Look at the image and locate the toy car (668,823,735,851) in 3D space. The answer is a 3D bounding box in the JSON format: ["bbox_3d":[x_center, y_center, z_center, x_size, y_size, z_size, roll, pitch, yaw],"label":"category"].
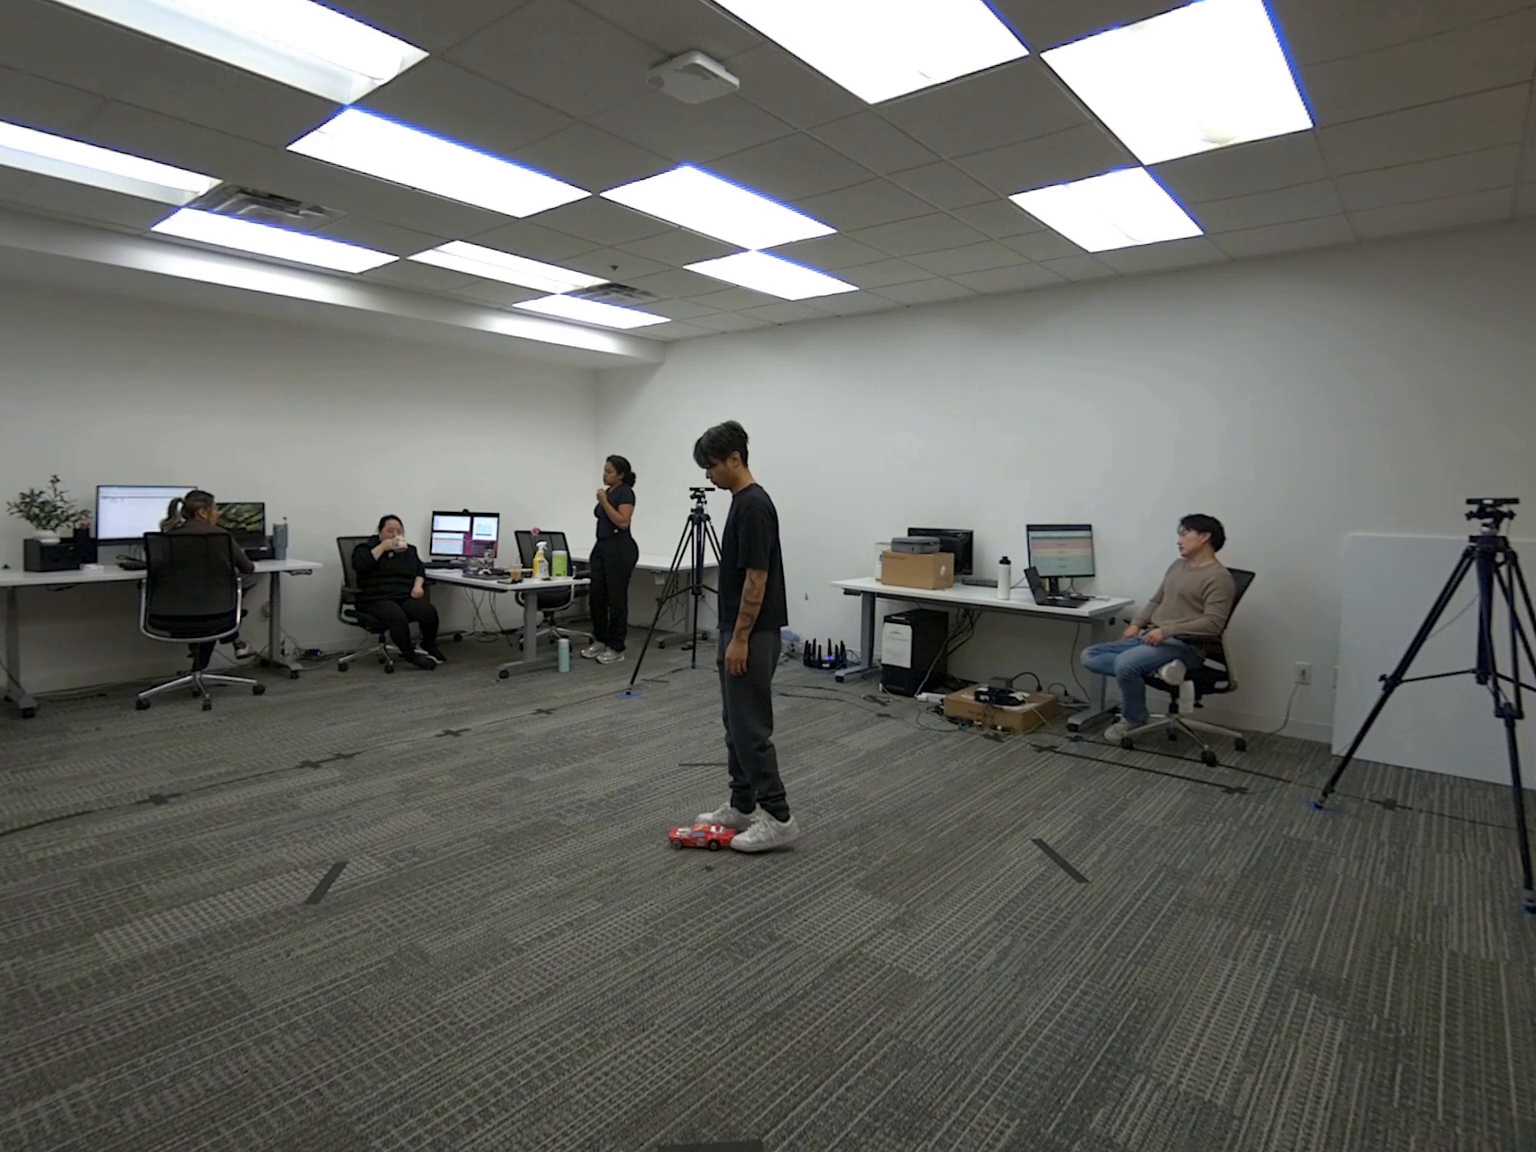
[{"bbox_3d":[-0.270,1.014,3.322,0.256,0.083,0.130,-10,3,6],"label":"toy car"}]
